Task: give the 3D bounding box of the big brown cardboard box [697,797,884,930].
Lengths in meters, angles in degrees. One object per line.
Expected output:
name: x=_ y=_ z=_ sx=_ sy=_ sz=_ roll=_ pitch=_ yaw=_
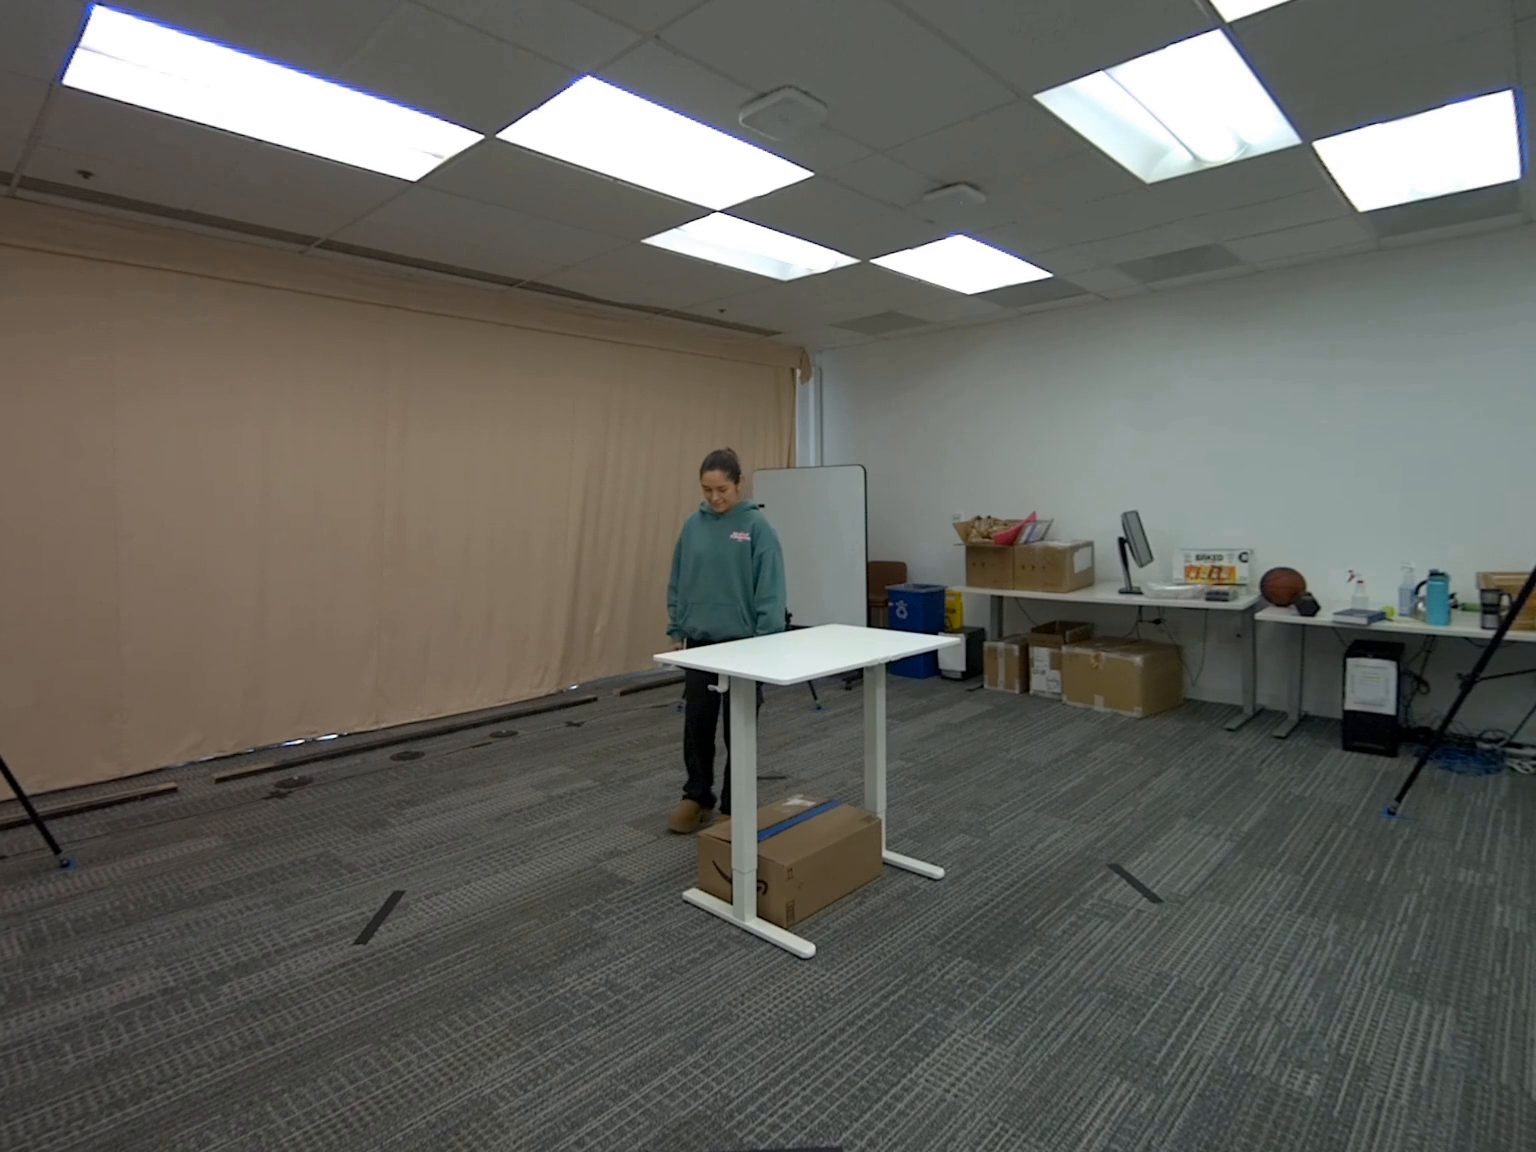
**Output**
big brown cardboard box: x=0.090 y=1.016 z=3.086 sx=0.431 sy=0.232 sz=0.571 roll=3 pitch=7 yaw=43
